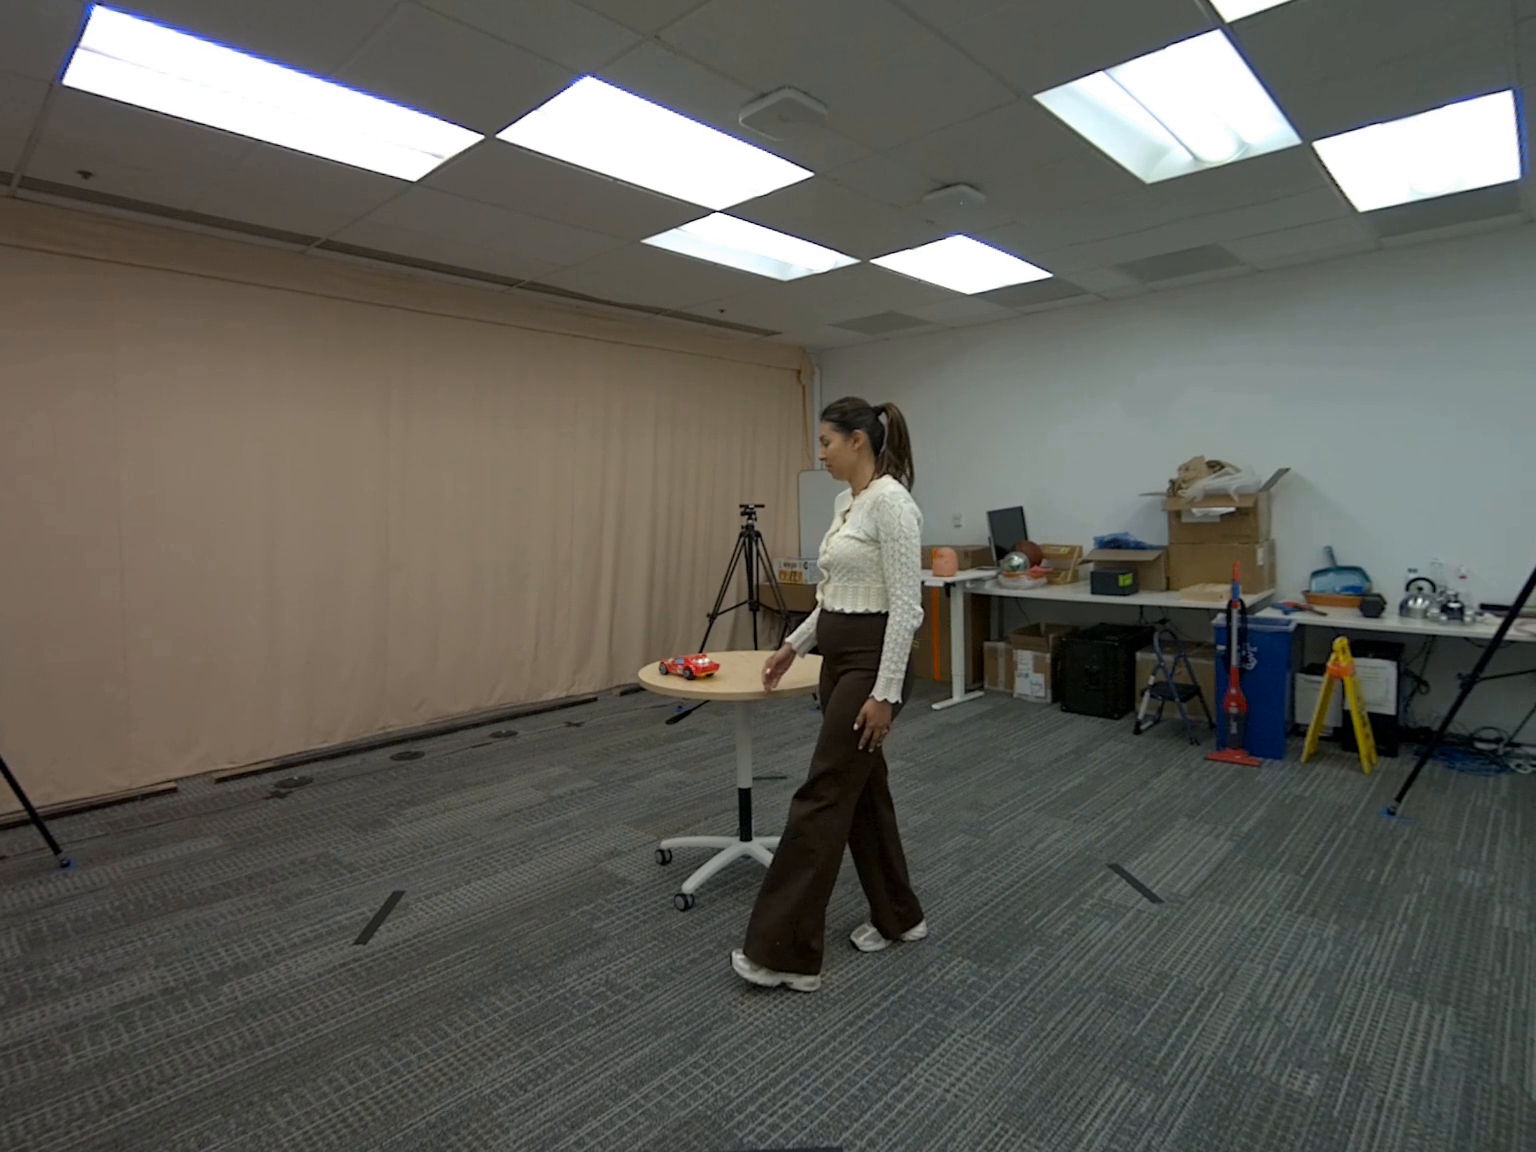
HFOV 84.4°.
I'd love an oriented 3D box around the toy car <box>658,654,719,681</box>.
[{"bbox_3d":[-0.279,0.330,3.010,0.126,0.083,0.261,-6,-4,-42],"label":"toy car"}]
